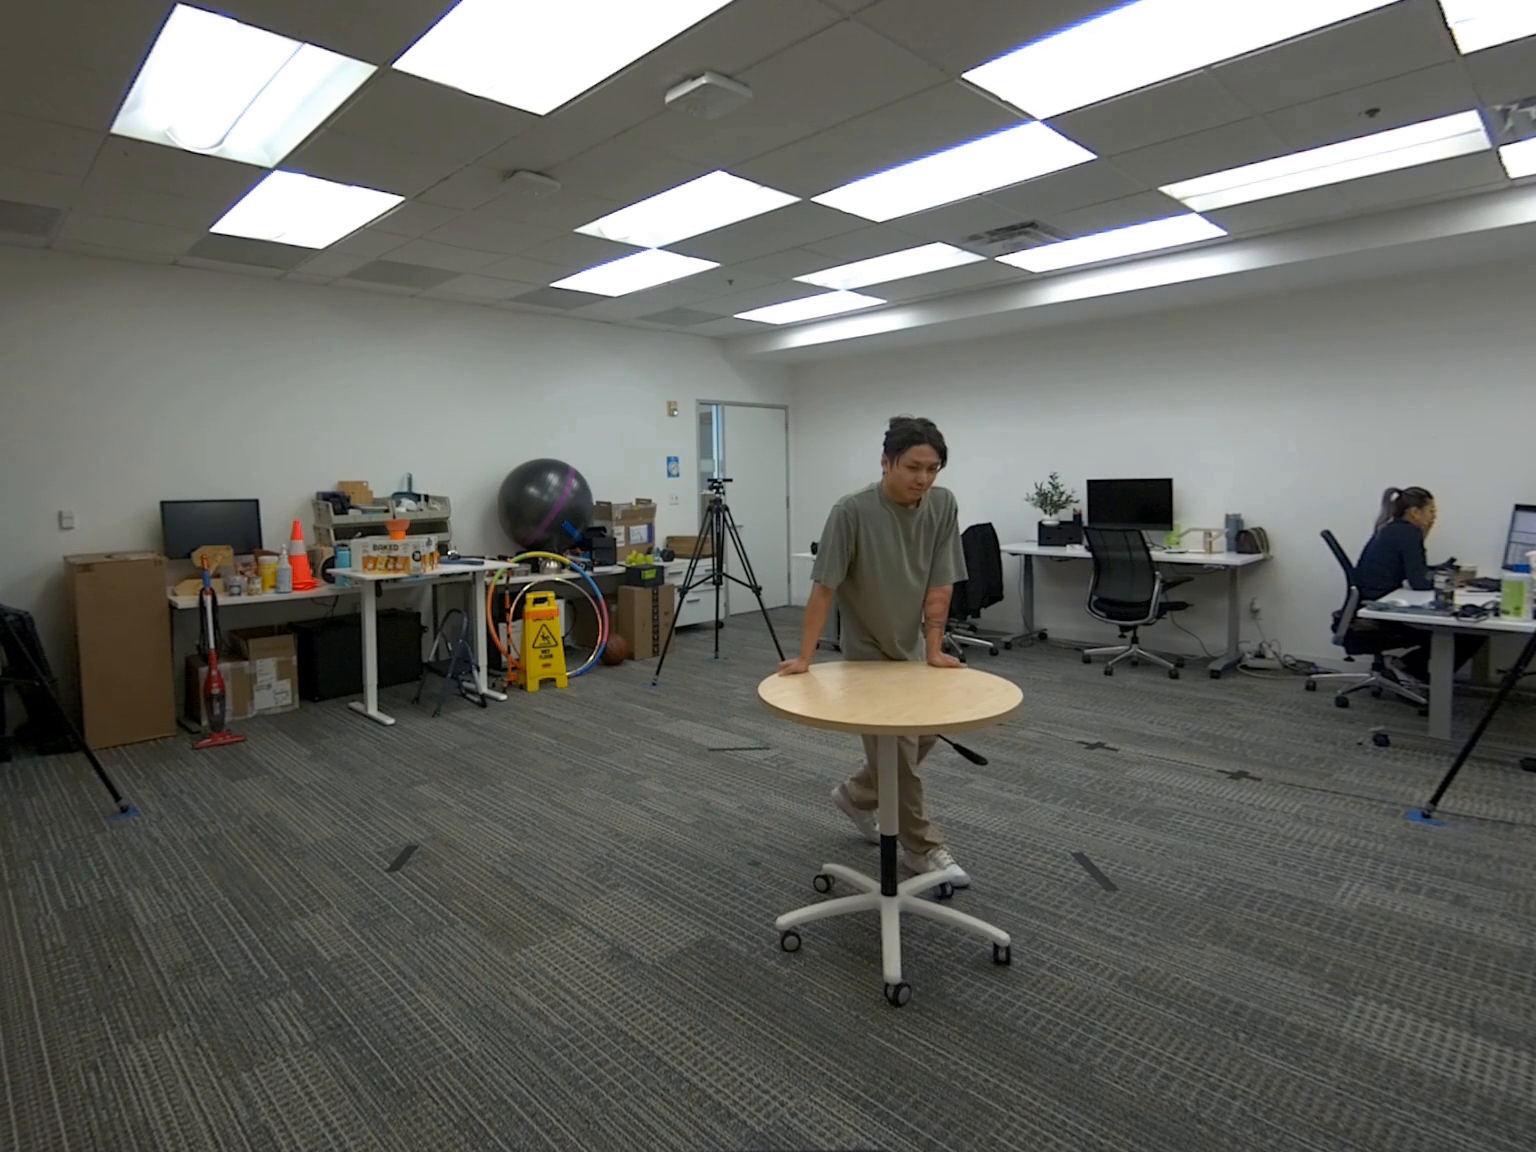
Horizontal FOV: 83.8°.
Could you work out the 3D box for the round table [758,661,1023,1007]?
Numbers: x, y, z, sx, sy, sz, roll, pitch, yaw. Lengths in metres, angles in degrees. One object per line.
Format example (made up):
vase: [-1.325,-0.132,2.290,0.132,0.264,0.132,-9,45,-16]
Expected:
round table: [0.347,0.714,2.566,0.784,0.783,0.789,-1,5,-2]
